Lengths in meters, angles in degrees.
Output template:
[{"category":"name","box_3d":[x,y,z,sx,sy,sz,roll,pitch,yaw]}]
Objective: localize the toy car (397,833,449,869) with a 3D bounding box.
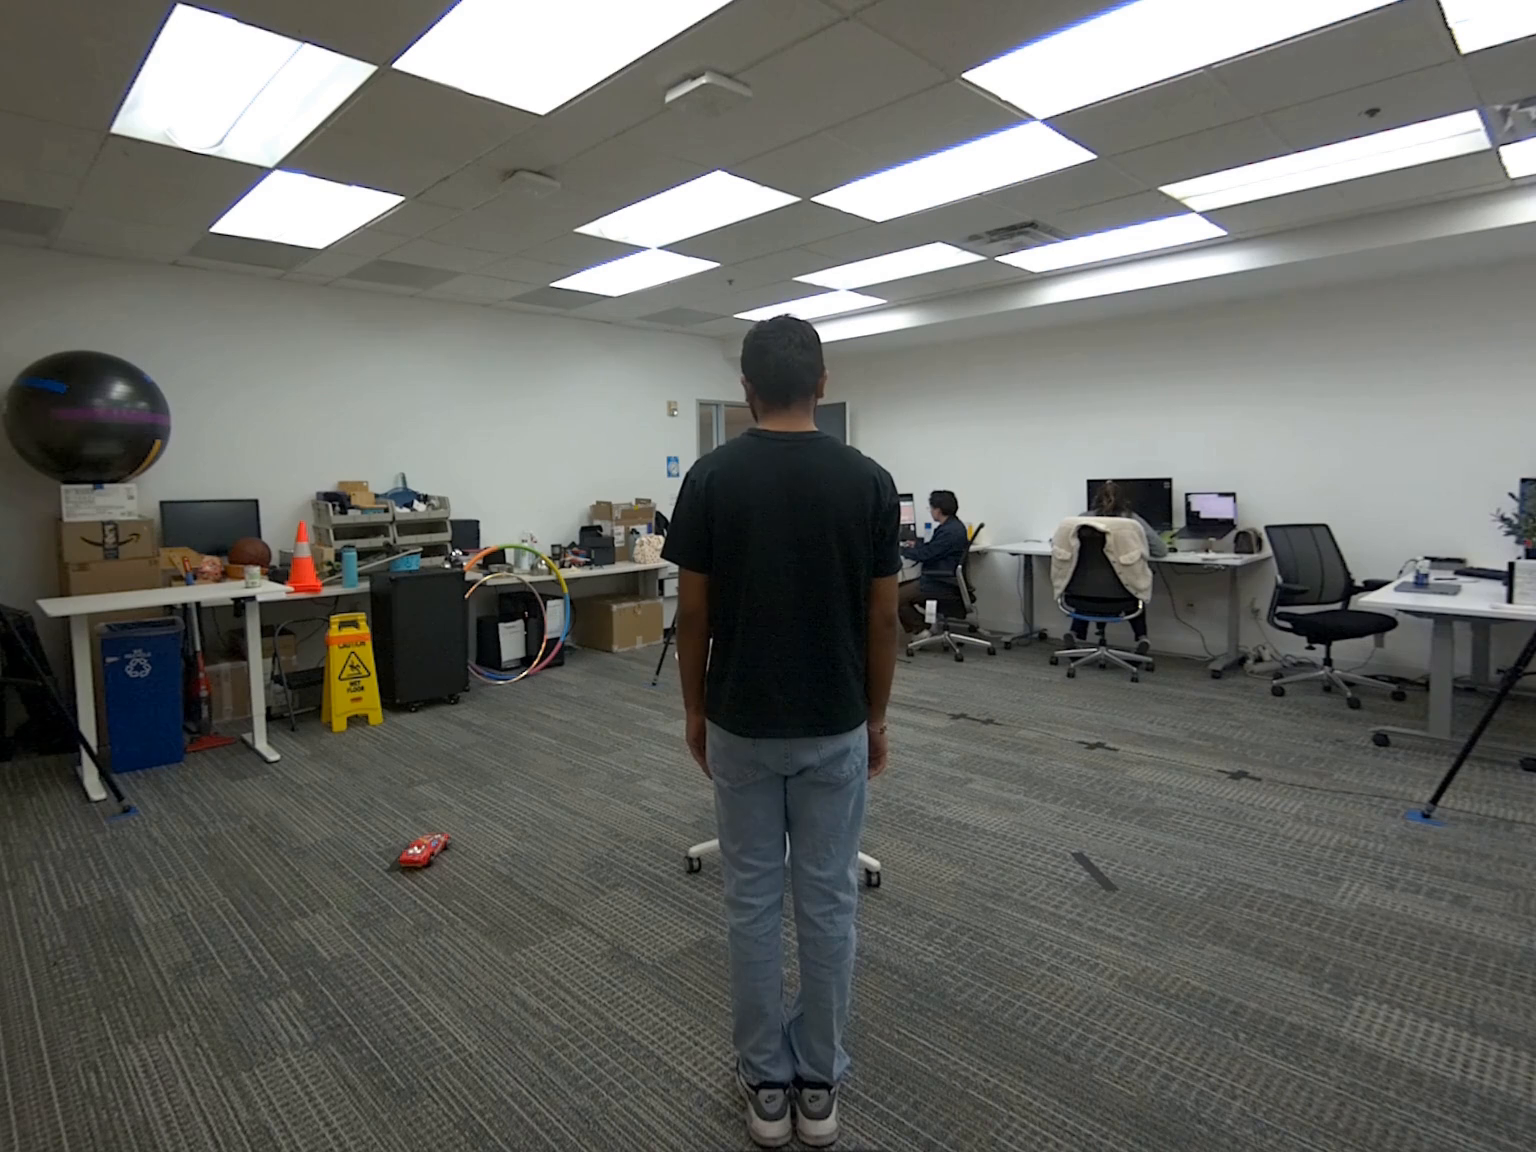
[{"category":"toy car","box_3d":[-1.288,1.030,3.201,0.131,0.083,0.251,0,-4,6]}]
